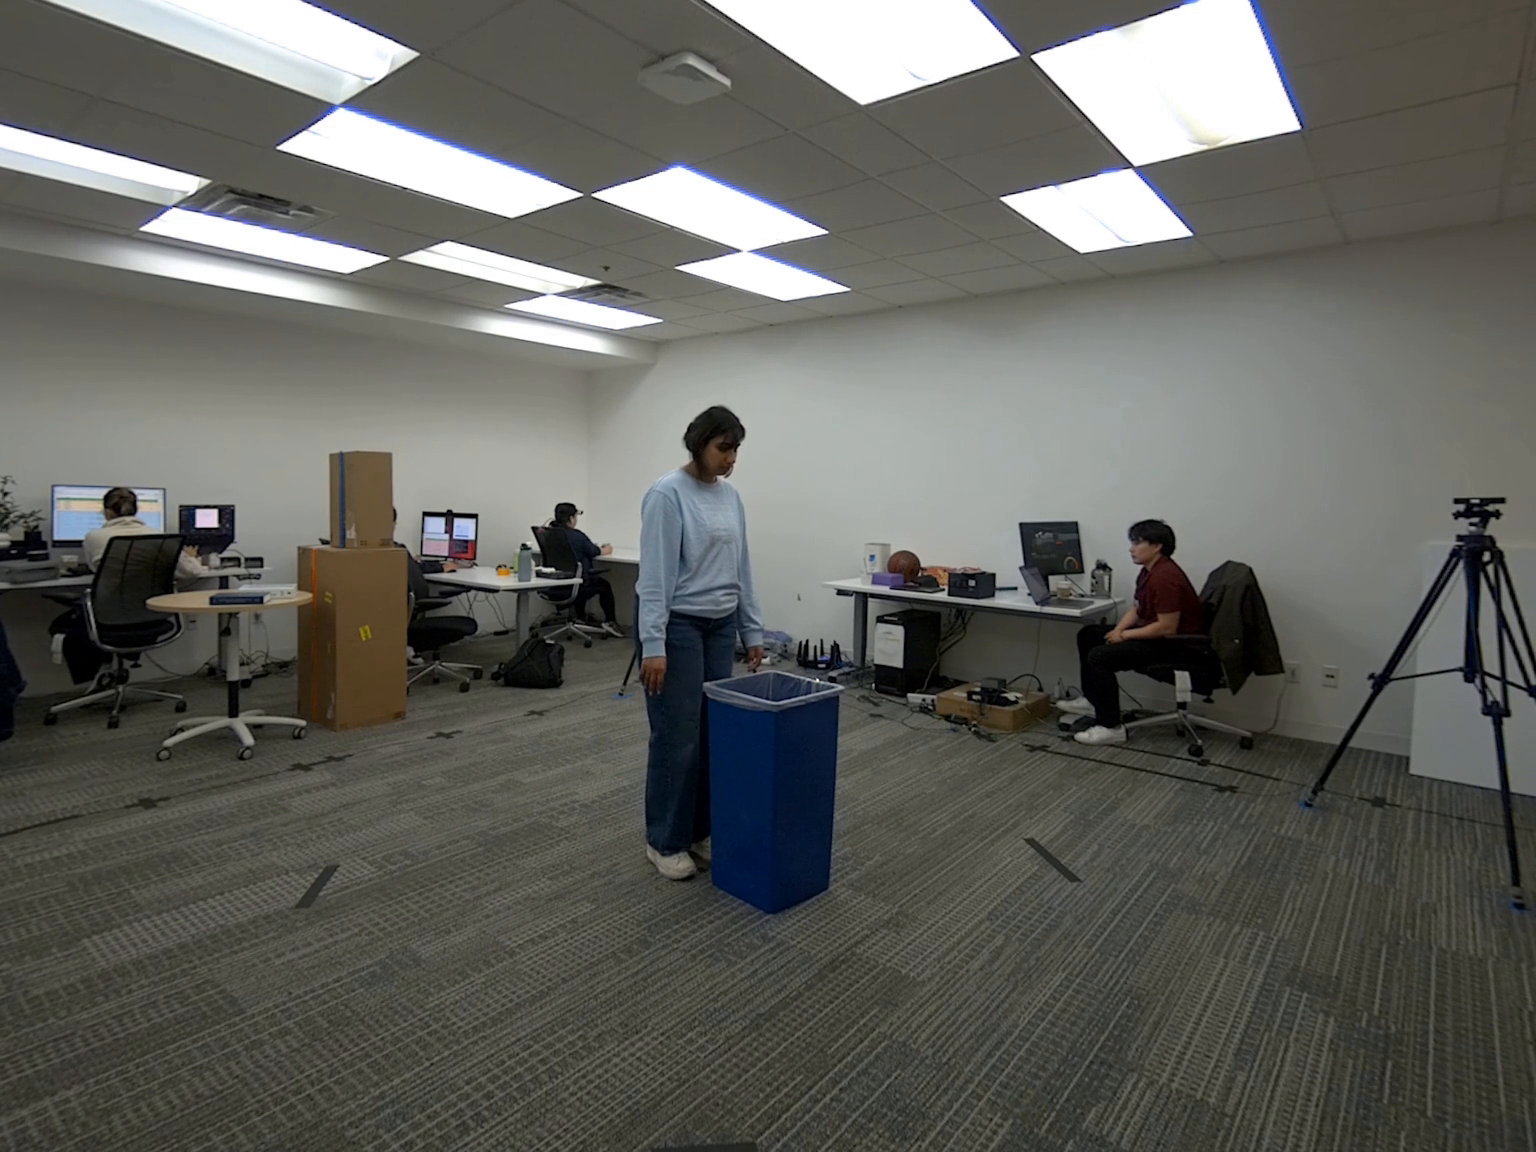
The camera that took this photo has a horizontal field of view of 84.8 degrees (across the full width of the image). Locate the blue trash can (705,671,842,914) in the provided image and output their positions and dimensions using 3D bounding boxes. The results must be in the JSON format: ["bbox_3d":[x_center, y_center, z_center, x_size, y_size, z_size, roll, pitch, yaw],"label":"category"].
[{"bbox_3d":[0.005,0.731,2.962,0.391,0.712,0.362,3,3,44],"label":"blue trash can"}]
